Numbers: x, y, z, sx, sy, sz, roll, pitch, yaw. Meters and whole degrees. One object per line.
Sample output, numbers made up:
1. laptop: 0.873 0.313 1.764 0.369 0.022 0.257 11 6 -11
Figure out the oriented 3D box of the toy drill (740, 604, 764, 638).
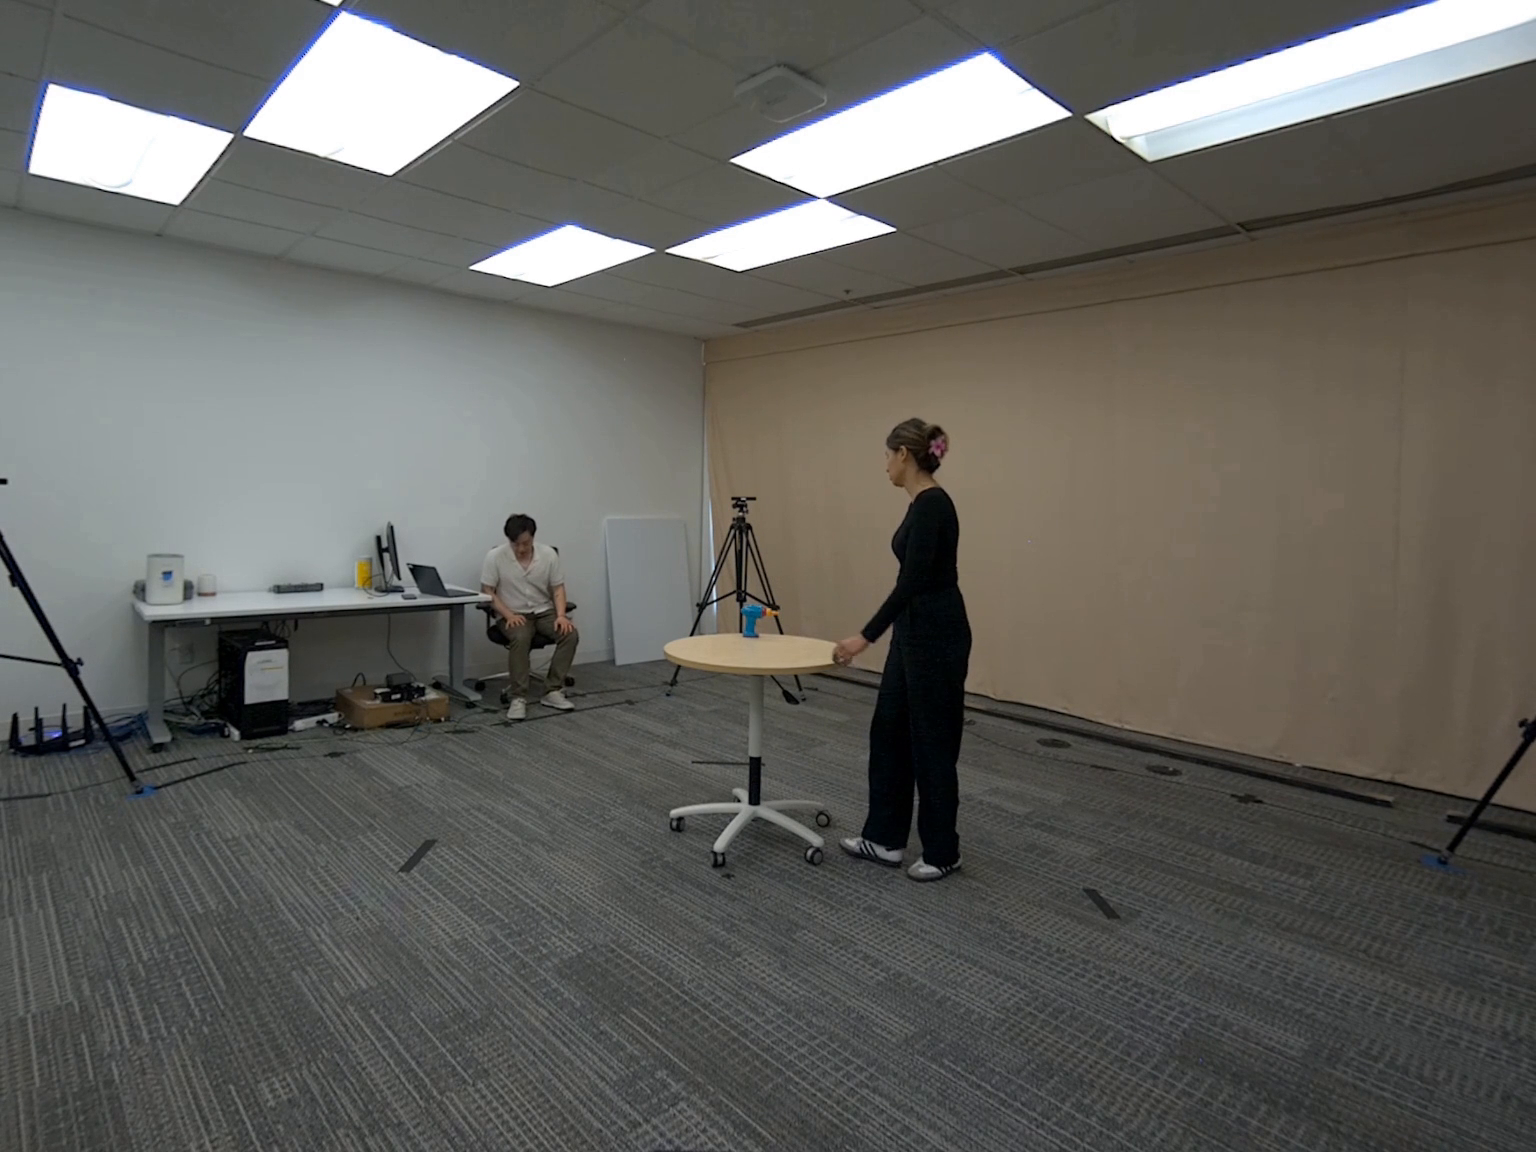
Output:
1. toy drill: -0.038 0.198 3.718 0.171 0.145 0.061 2 4 7
